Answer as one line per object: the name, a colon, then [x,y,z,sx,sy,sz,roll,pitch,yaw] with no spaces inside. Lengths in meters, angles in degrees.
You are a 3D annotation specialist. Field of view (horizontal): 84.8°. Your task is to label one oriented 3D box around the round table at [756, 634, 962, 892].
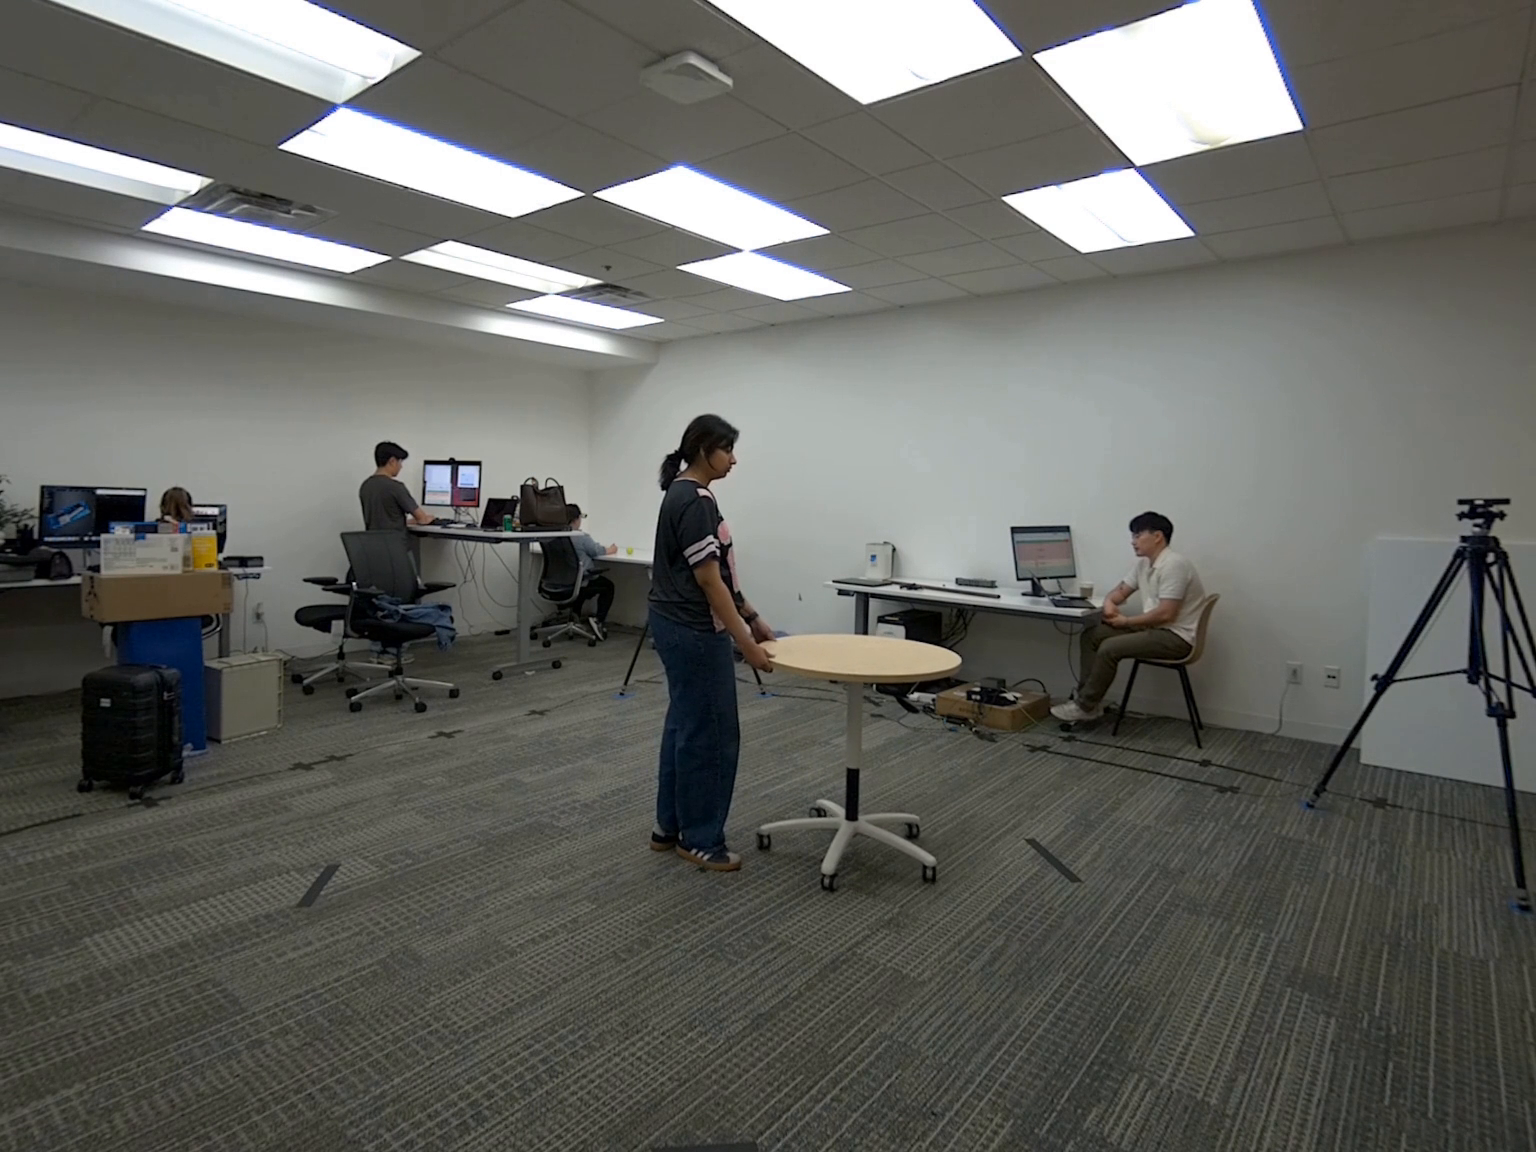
round table: [0.307,0.678,3.247,0.784,0.784,0.789,2,4,-2]
